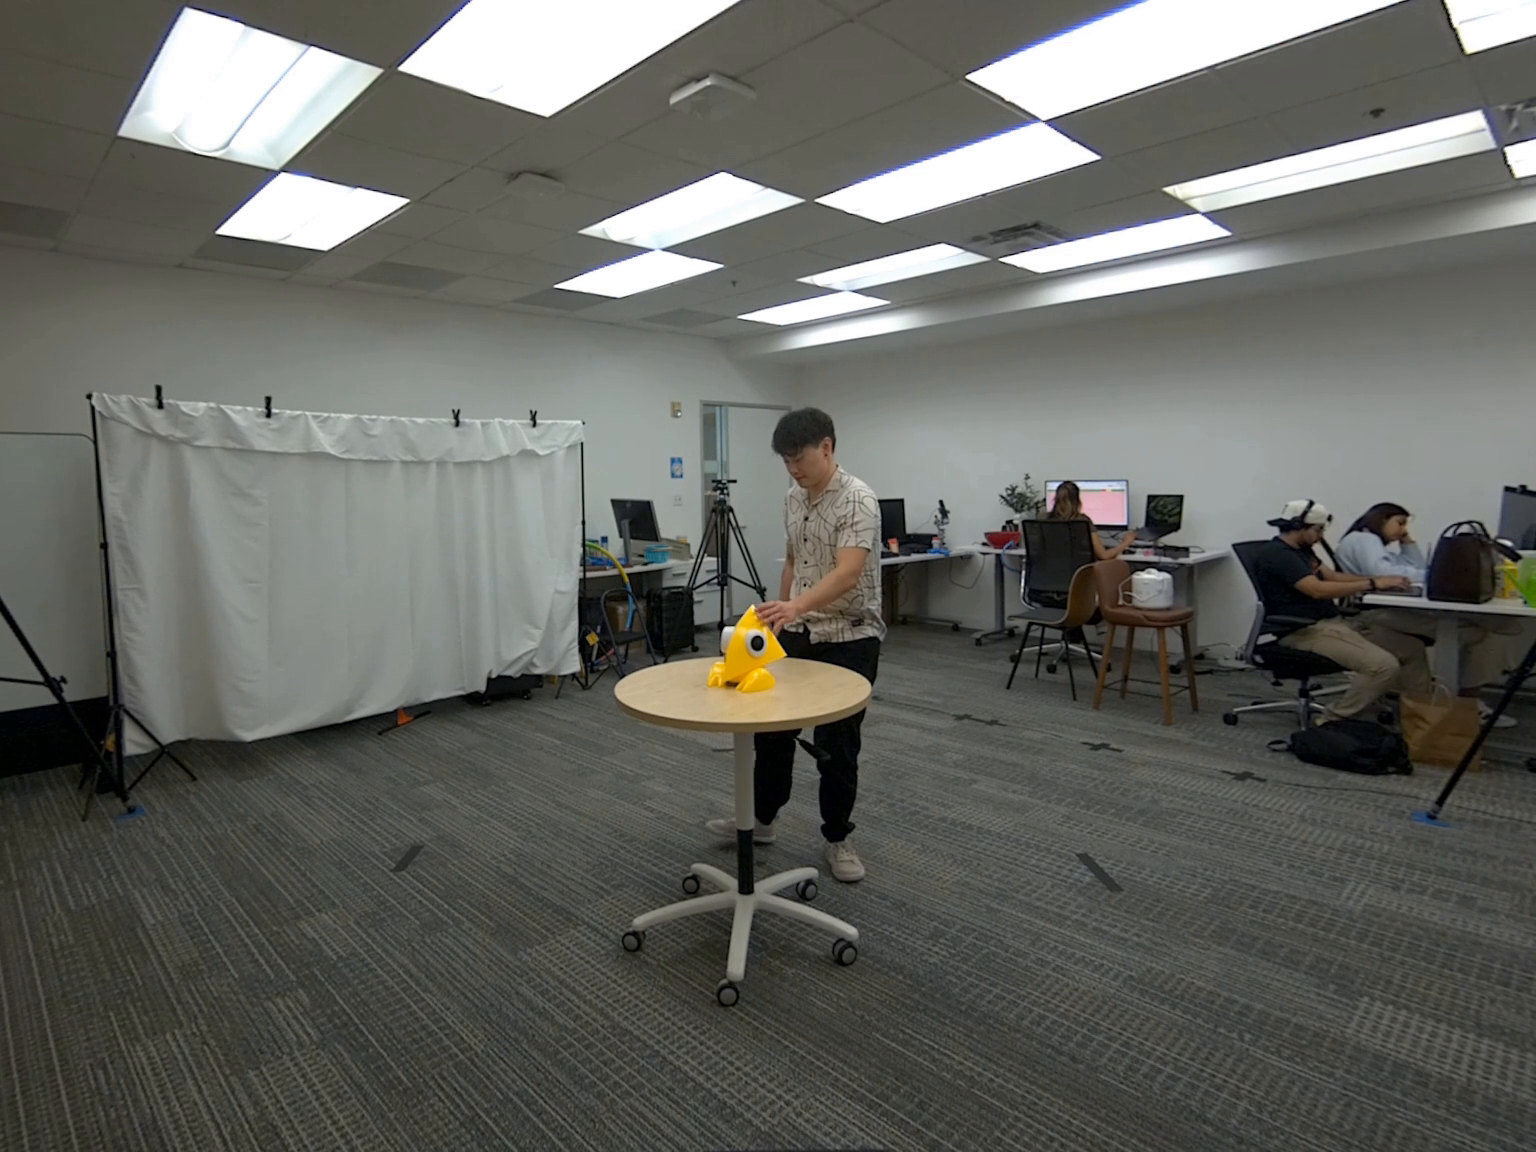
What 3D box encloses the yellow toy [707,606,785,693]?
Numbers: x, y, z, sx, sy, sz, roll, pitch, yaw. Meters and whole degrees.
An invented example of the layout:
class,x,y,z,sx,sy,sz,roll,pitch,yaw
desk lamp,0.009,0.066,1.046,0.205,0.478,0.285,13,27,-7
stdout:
class,x,y,z,sx,sy,sz,roll,pitch,yaw
yellow toy,-0.071,0.215,2.573,0.211,0.229,0.188,3,7,34
